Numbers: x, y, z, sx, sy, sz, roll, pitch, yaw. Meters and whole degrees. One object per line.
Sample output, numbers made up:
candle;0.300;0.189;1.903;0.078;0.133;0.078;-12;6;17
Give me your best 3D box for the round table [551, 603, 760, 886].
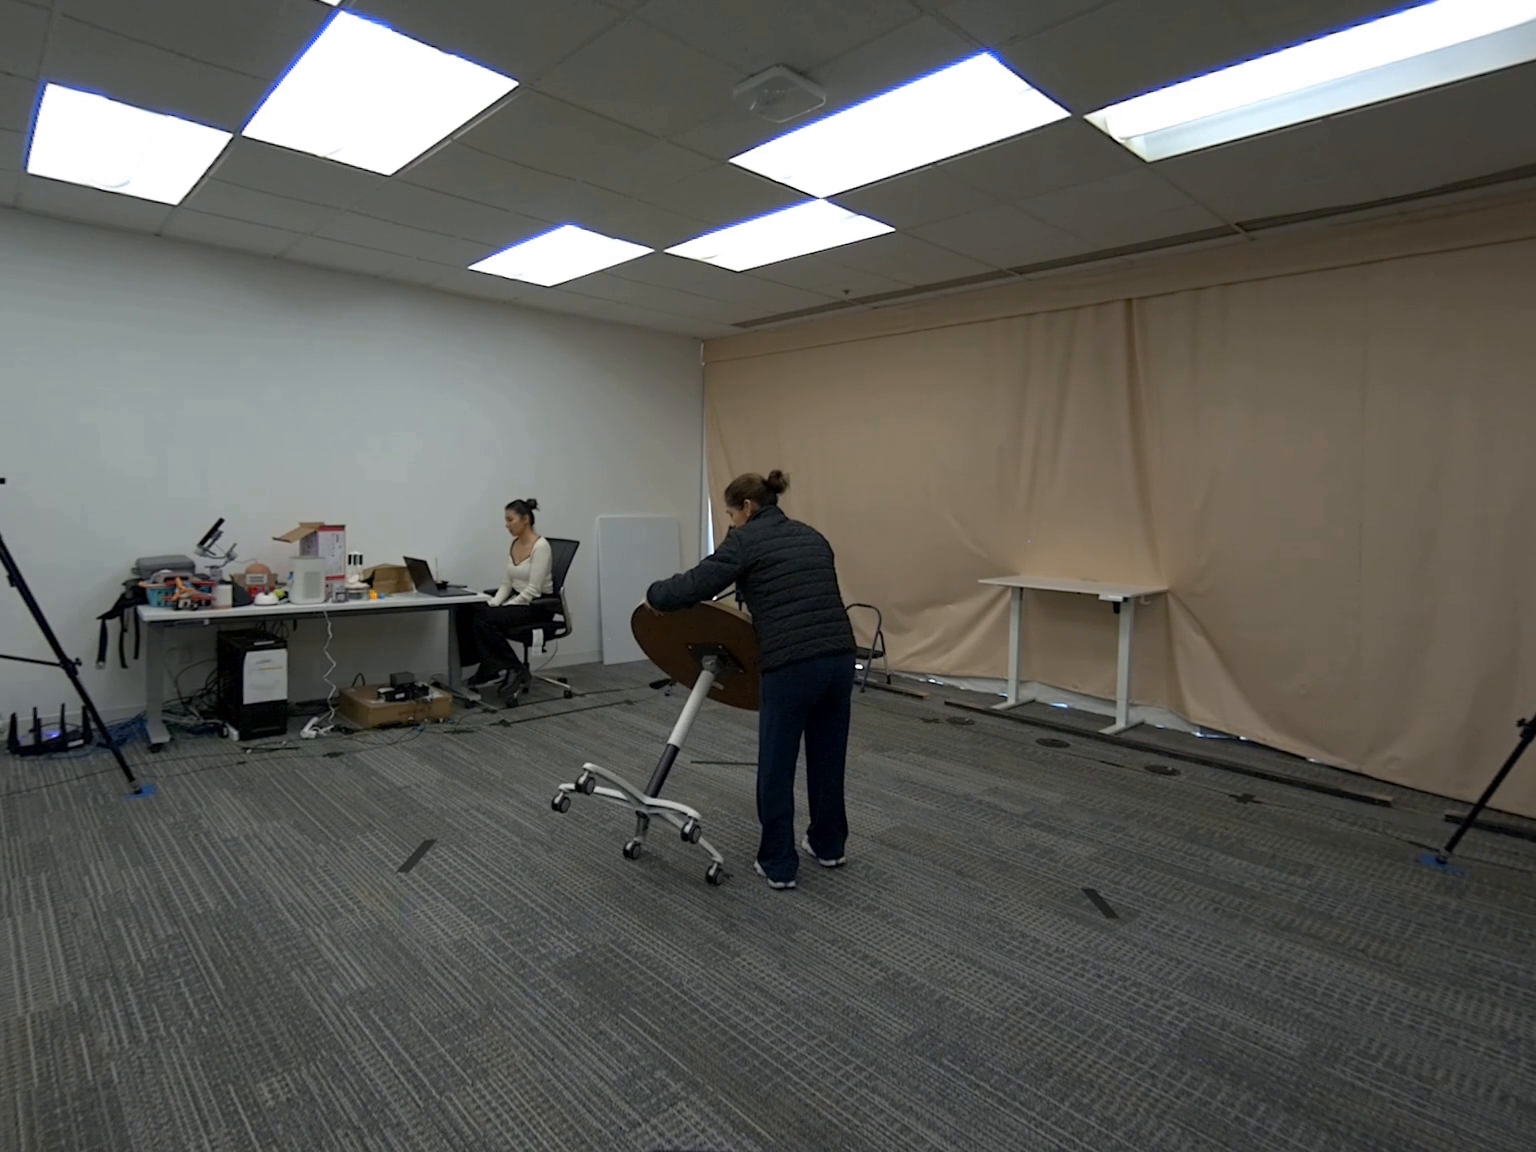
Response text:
round table;-0.359;0.611;3.184;0.795;0.793;0.769;19;-34;12
